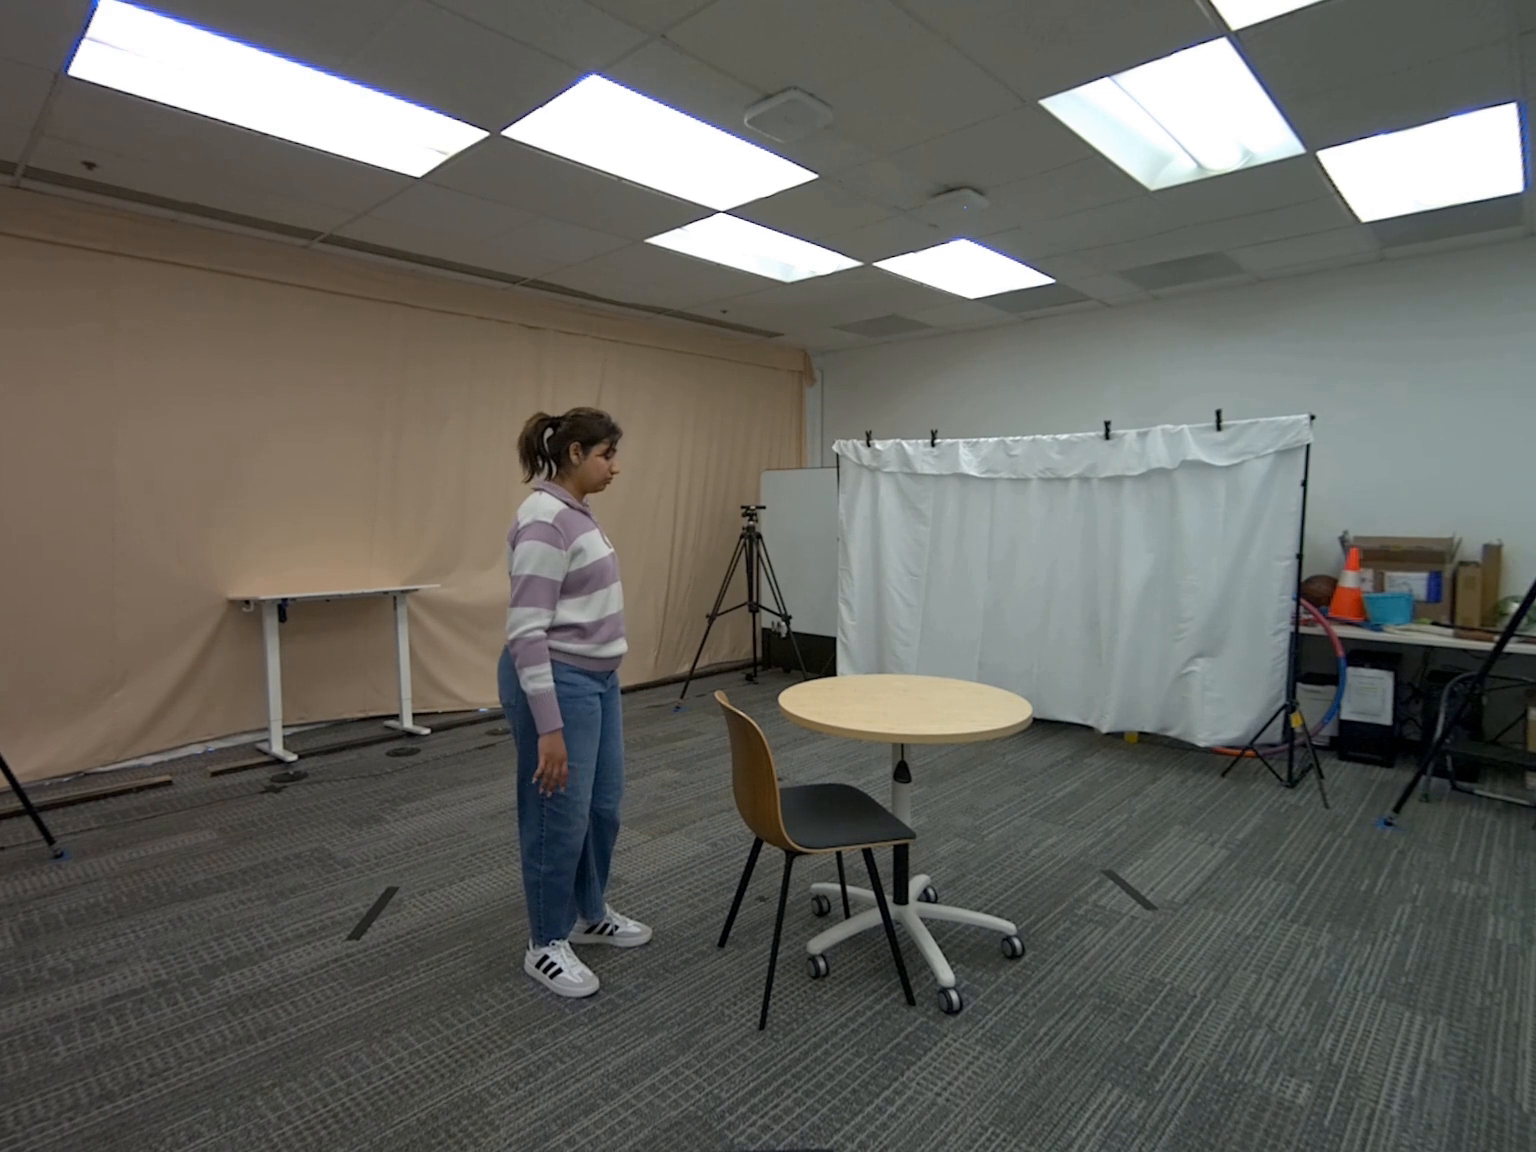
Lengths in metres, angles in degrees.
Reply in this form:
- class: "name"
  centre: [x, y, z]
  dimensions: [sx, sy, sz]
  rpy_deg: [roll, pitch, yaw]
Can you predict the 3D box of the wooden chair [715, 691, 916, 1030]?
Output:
- class: "wooden chair"
  centre: [0.137, 0.760, 2.474]
  dimensions: [0.515, 0.875, 0.487]
  rpy_deg: [-5, 4, -17]
